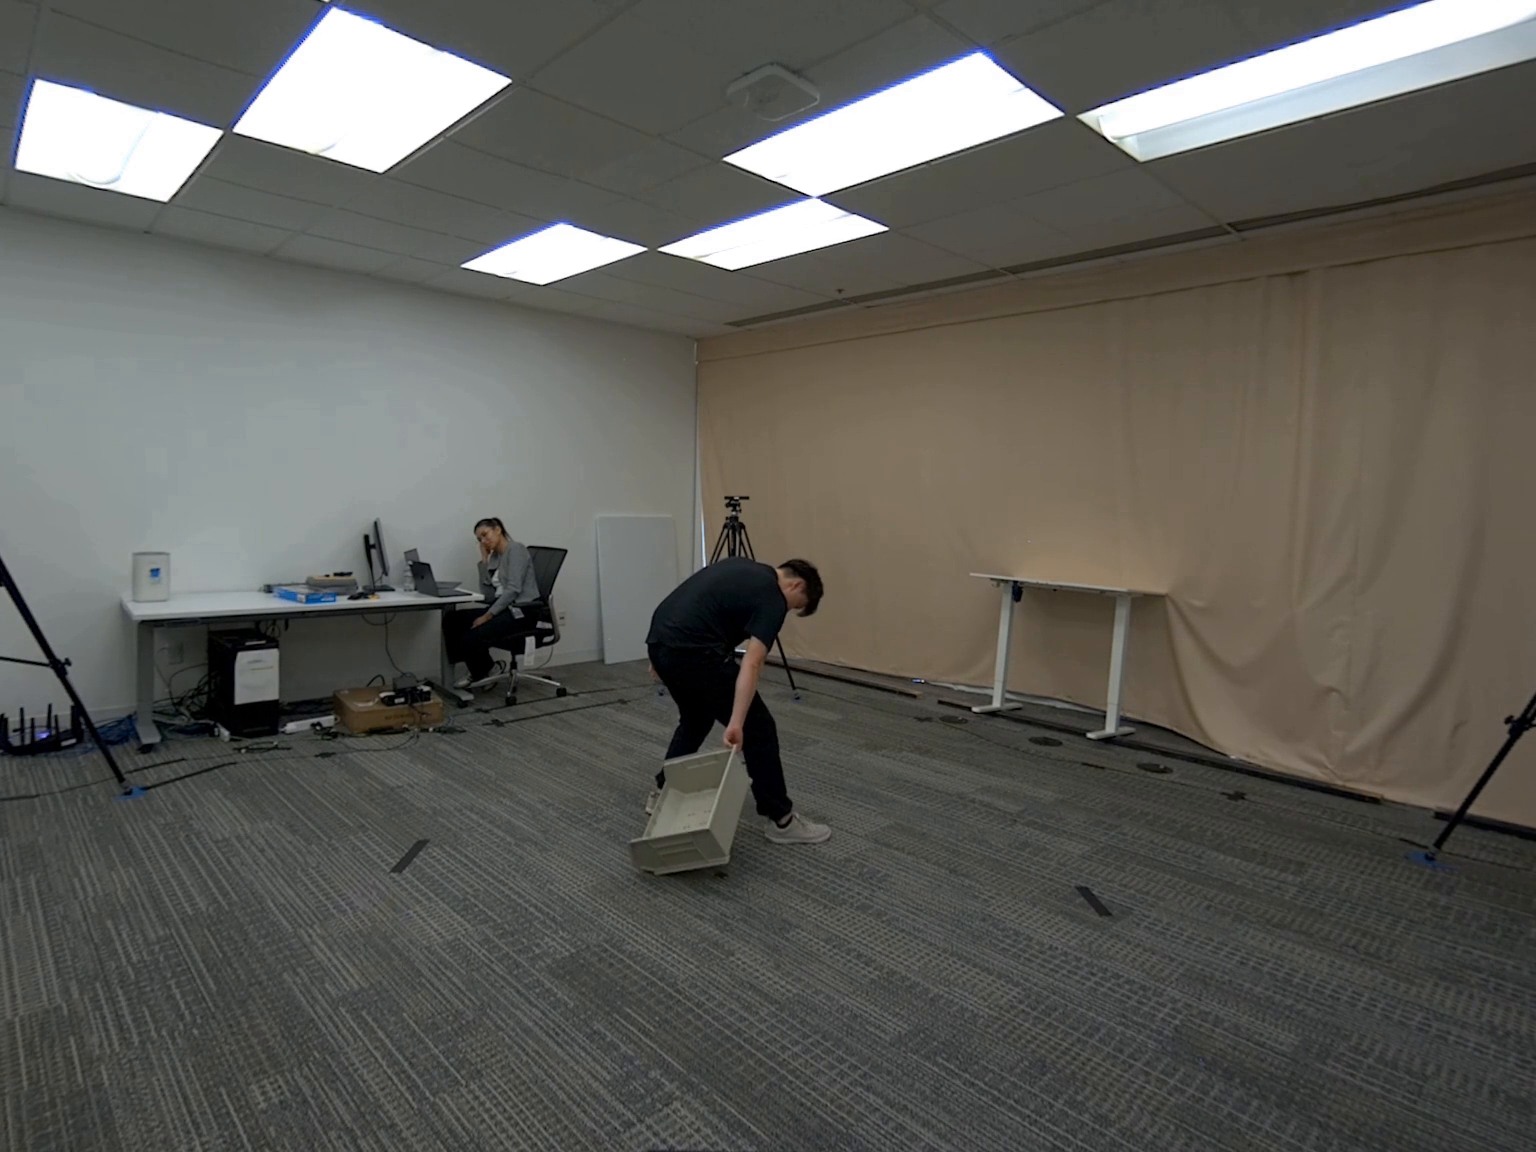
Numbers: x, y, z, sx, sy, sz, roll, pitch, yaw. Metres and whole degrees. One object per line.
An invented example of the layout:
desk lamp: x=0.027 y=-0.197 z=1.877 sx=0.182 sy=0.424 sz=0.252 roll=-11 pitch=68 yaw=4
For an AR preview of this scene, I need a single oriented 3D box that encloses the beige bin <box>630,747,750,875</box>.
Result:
beige bin: x=-0.301 y=0.891 z=3.180 sx=0.381 sy=0.185 sz=0.426 roll=-18 pitch=24 yaw=22
